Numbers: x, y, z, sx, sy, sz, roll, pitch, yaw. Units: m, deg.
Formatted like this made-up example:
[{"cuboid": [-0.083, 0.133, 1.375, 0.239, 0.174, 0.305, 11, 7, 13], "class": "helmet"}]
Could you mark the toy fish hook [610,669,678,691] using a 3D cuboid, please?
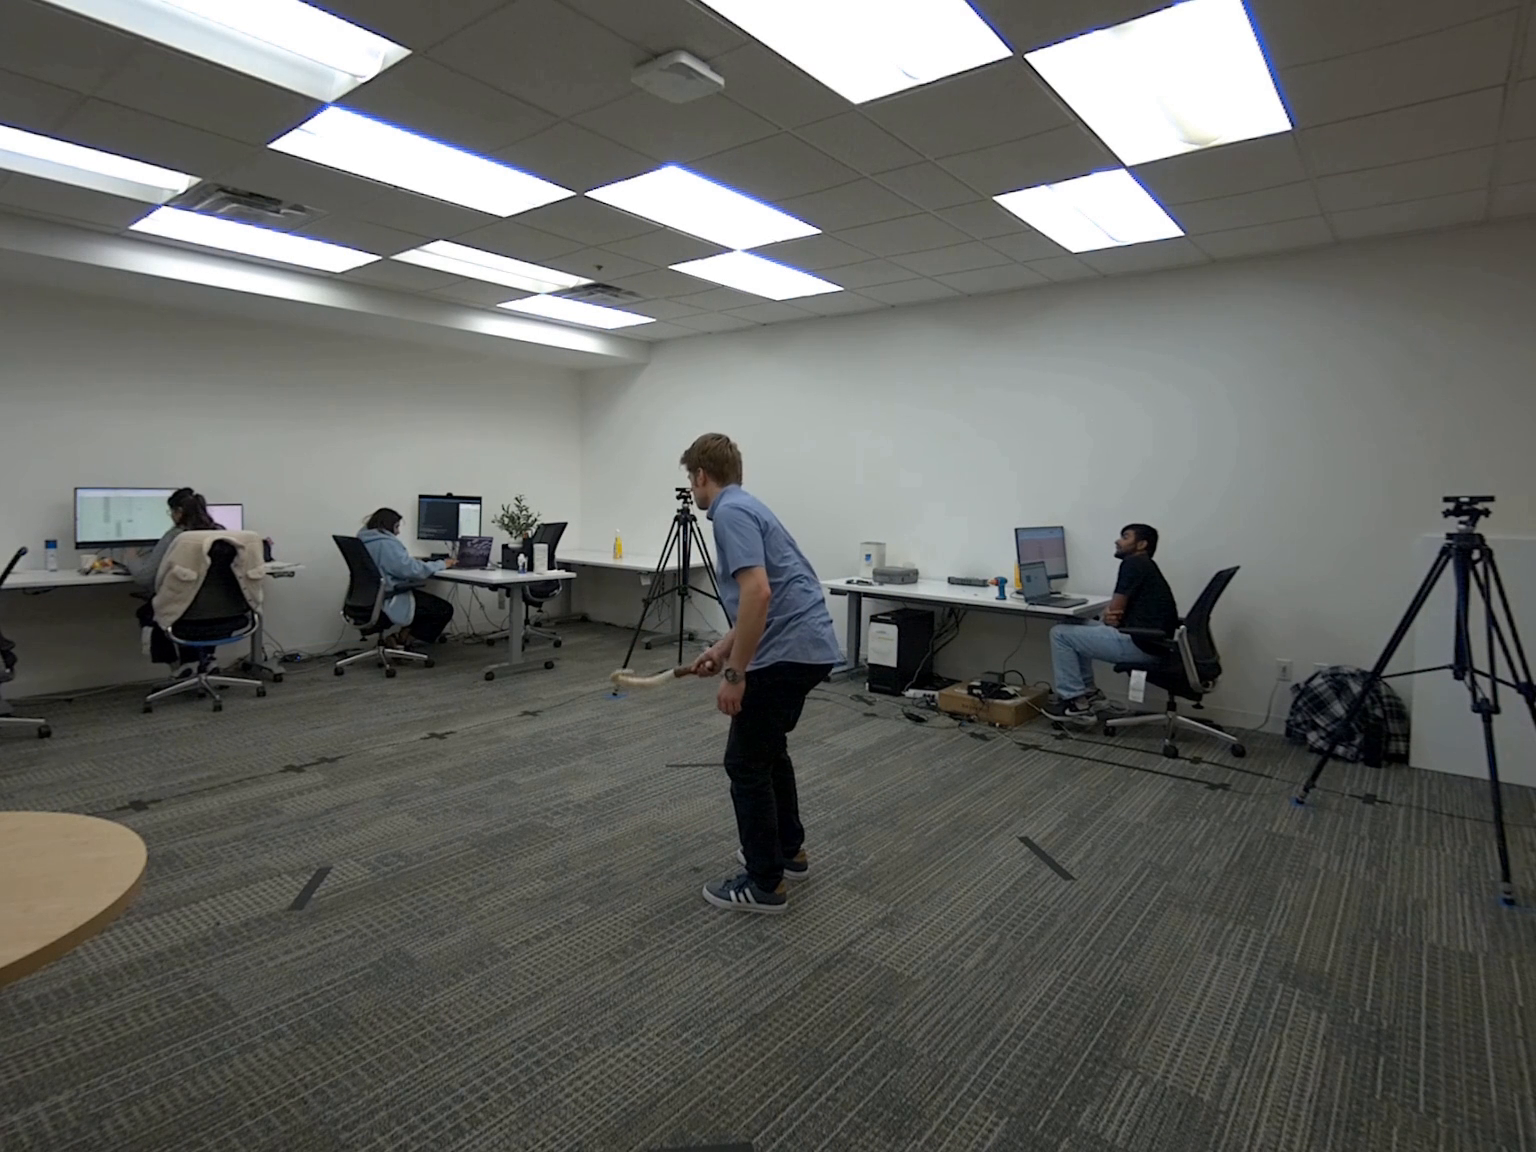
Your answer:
[{"cuboid": [-0.441, 0.378, 3.328, 0.517, 0.049, 0.216, -17, -25, 38], "class": "toy fish hook"}]
